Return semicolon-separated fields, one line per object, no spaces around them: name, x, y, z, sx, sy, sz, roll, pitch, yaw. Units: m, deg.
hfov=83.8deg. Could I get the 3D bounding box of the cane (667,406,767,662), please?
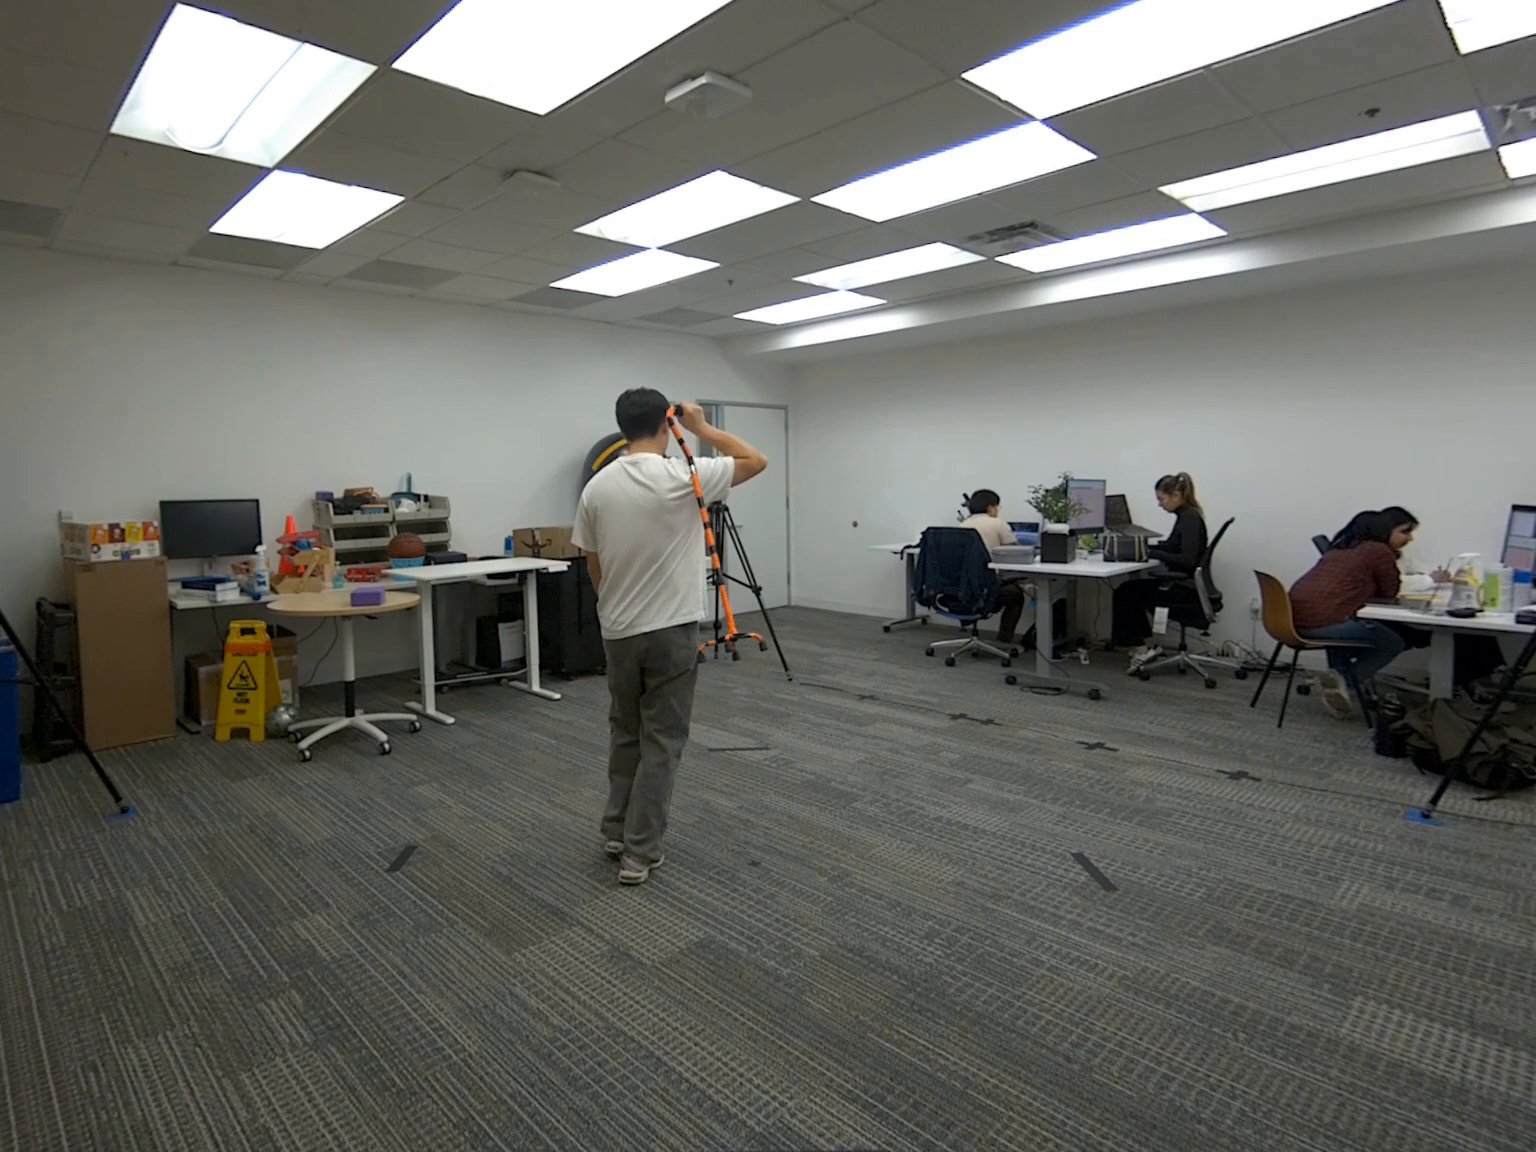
cane;-0.227;-0.170;2.912;0.200;0.923;0.153;1;-21;-42
